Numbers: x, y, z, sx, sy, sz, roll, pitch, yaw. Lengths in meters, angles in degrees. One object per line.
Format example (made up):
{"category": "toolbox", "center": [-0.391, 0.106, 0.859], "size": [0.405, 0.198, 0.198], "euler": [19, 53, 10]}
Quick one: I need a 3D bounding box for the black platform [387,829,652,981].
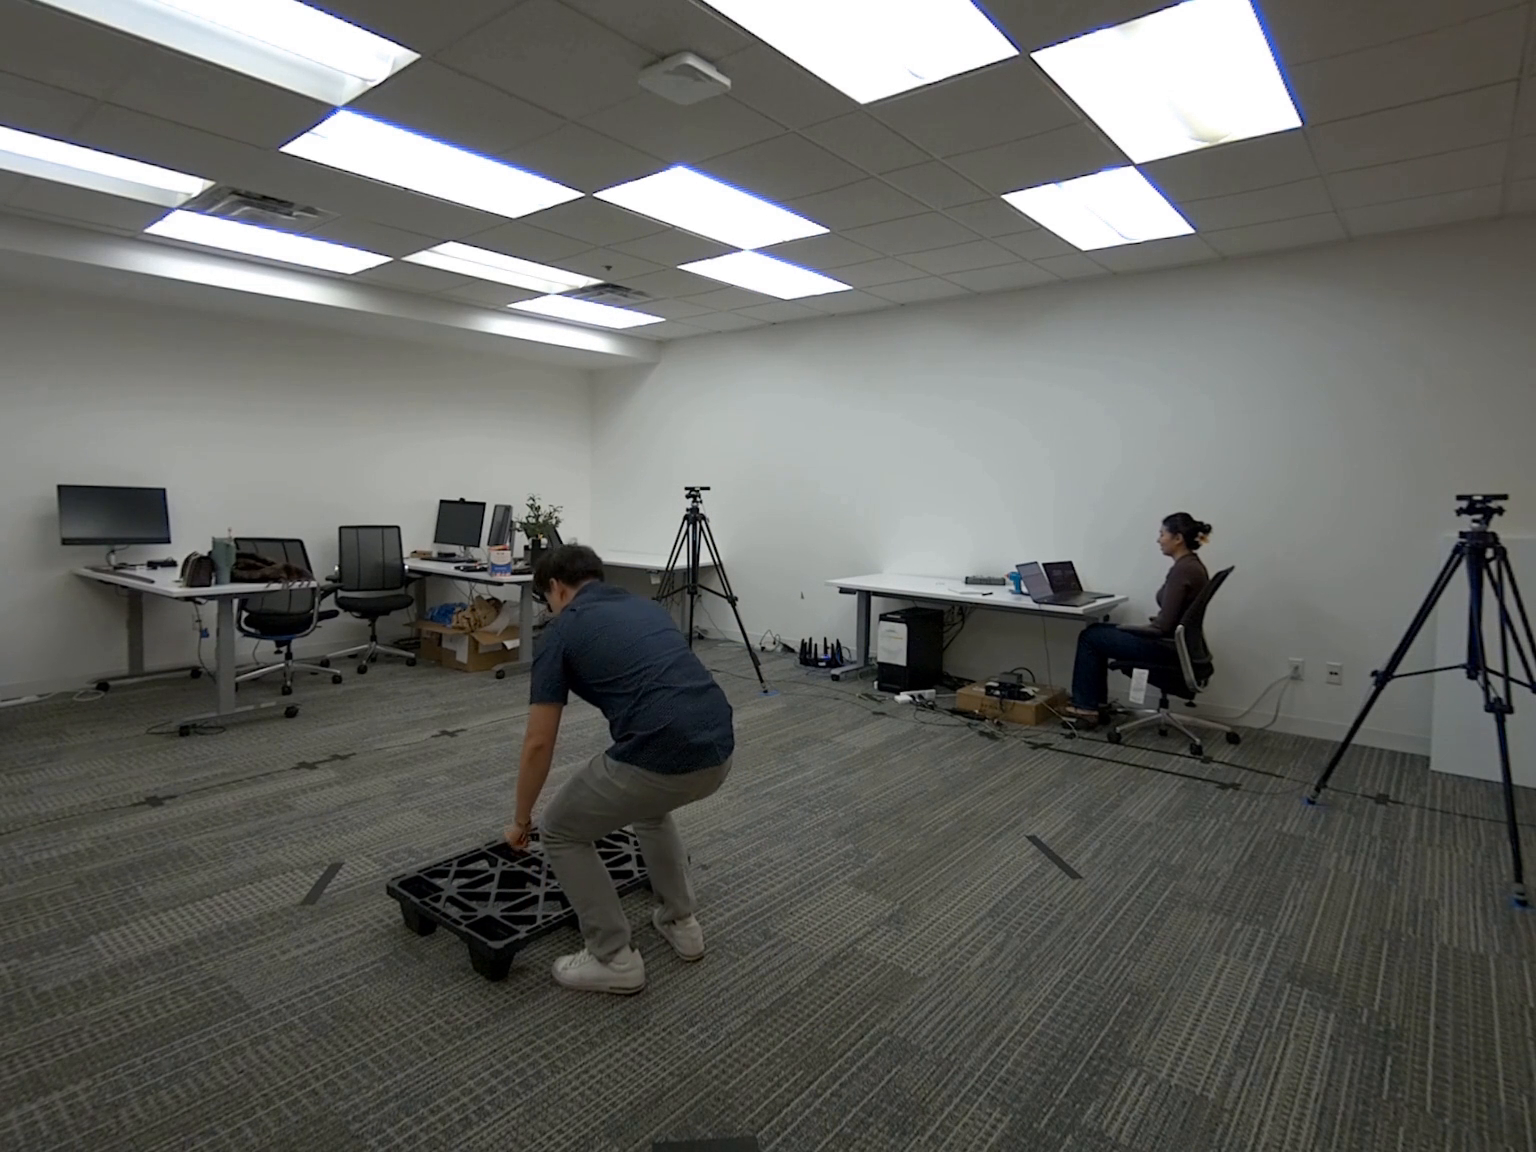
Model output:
{"category": "black platform", "center": [-0.753, 1.024, 2.804], "size": [0.625, 0.143, 0.782], "euler": [4, 7, 38]}
